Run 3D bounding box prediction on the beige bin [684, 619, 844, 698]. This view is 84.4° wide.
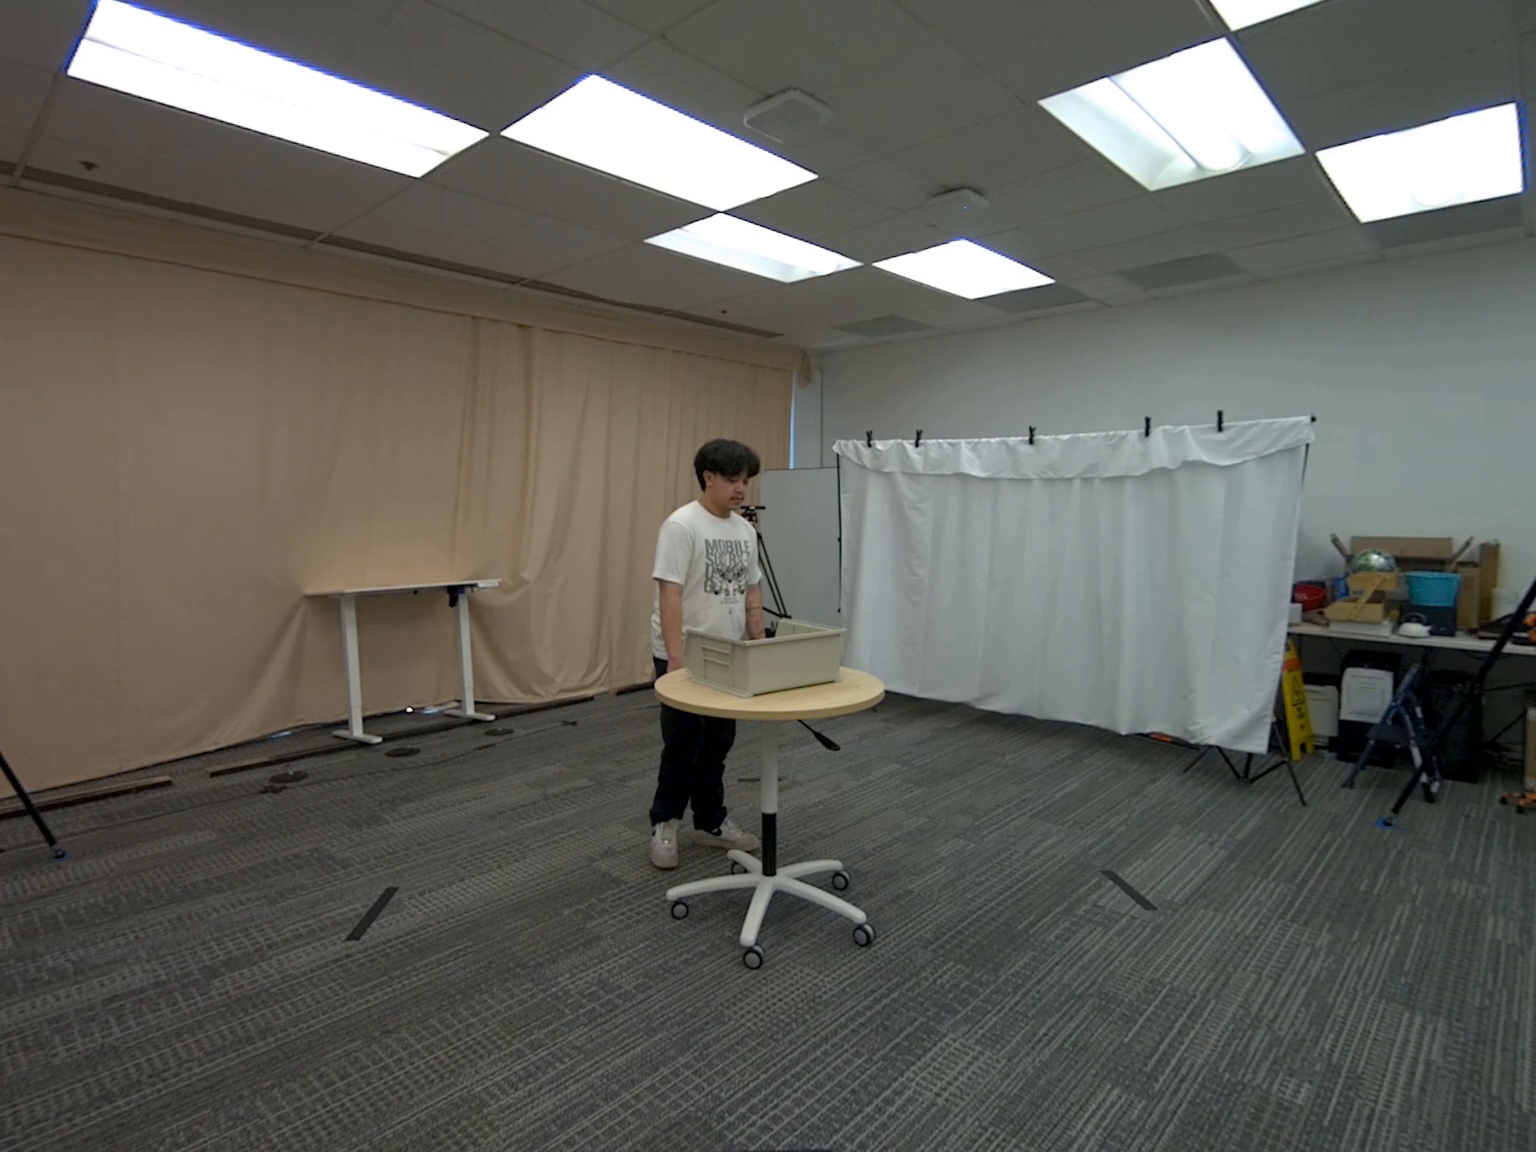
[{"bbox_3d":[-0.014,0.263,2.859,0.410,0.188,0.390,-2,6,-36],"label":"beige bin"}]
